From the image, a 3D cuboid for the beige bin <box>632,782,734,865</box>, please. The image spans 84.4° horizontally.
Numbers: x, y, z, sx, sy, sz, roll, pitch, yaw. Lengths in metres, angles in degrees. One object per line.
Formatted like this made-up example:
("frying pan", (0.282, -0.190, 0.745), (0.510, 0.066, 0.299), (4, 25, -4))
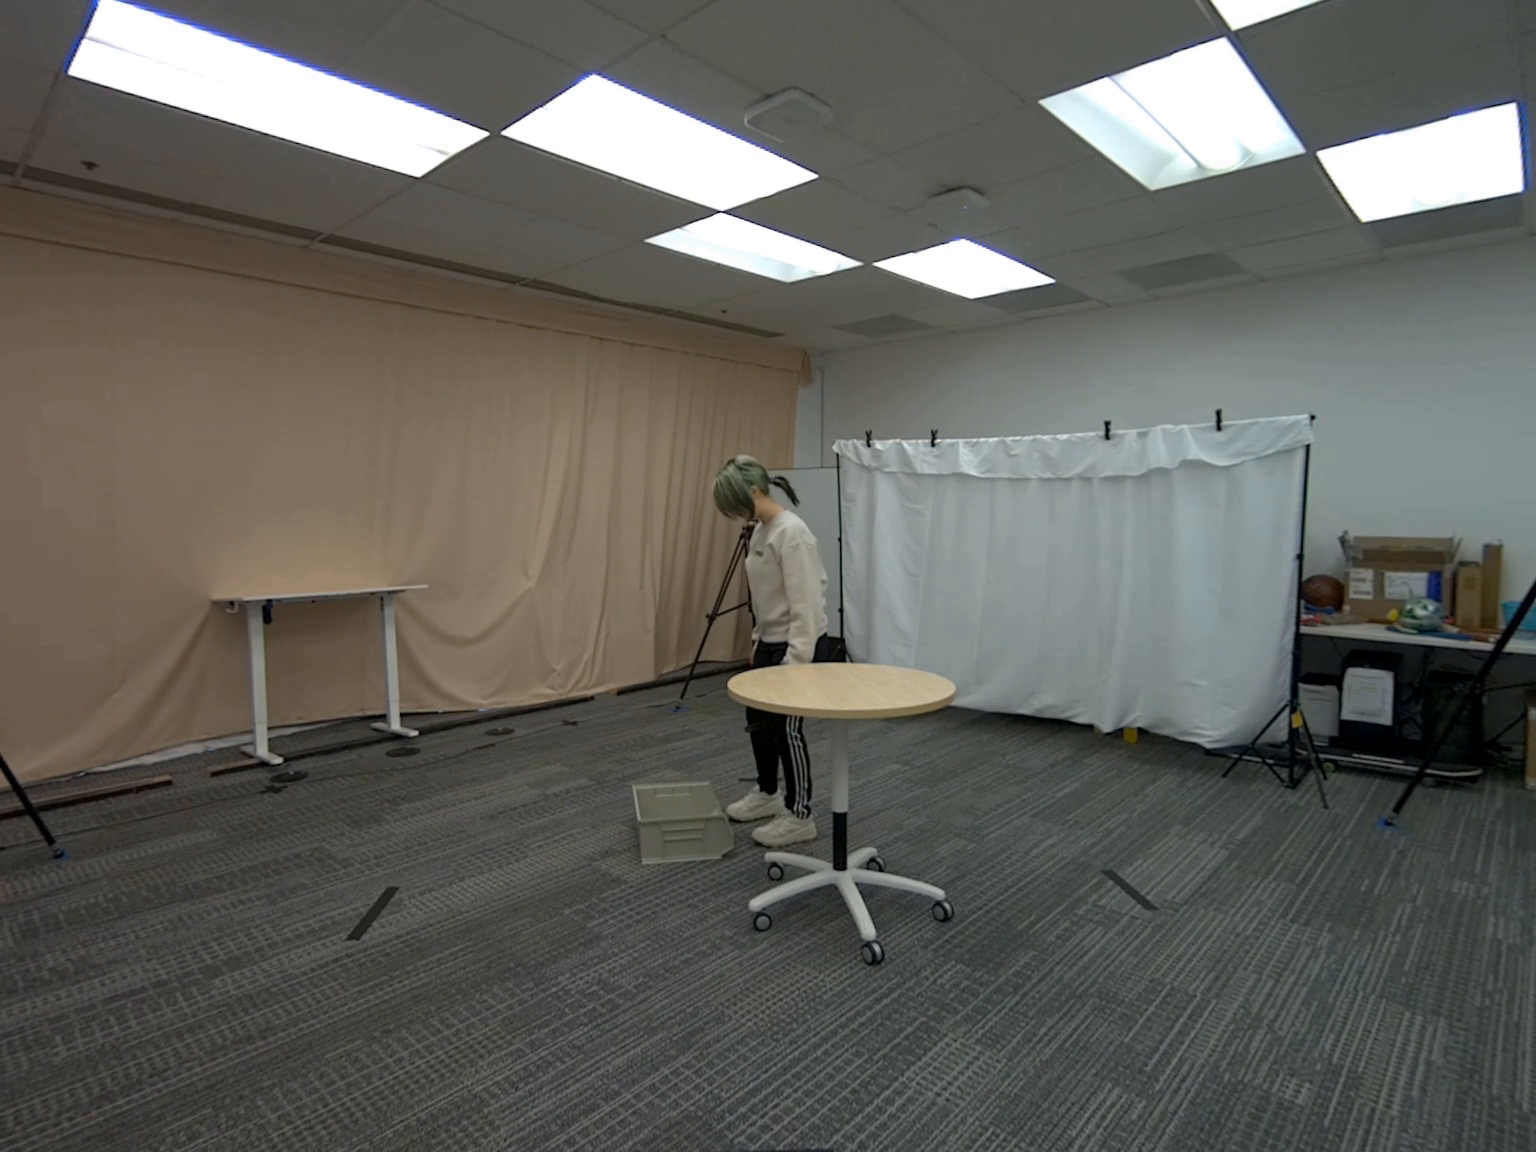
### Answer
("beige bin", (-0.362, 1.014, 3.501), (0.373, 0.188, 0.428), (-2, 6, -12))
